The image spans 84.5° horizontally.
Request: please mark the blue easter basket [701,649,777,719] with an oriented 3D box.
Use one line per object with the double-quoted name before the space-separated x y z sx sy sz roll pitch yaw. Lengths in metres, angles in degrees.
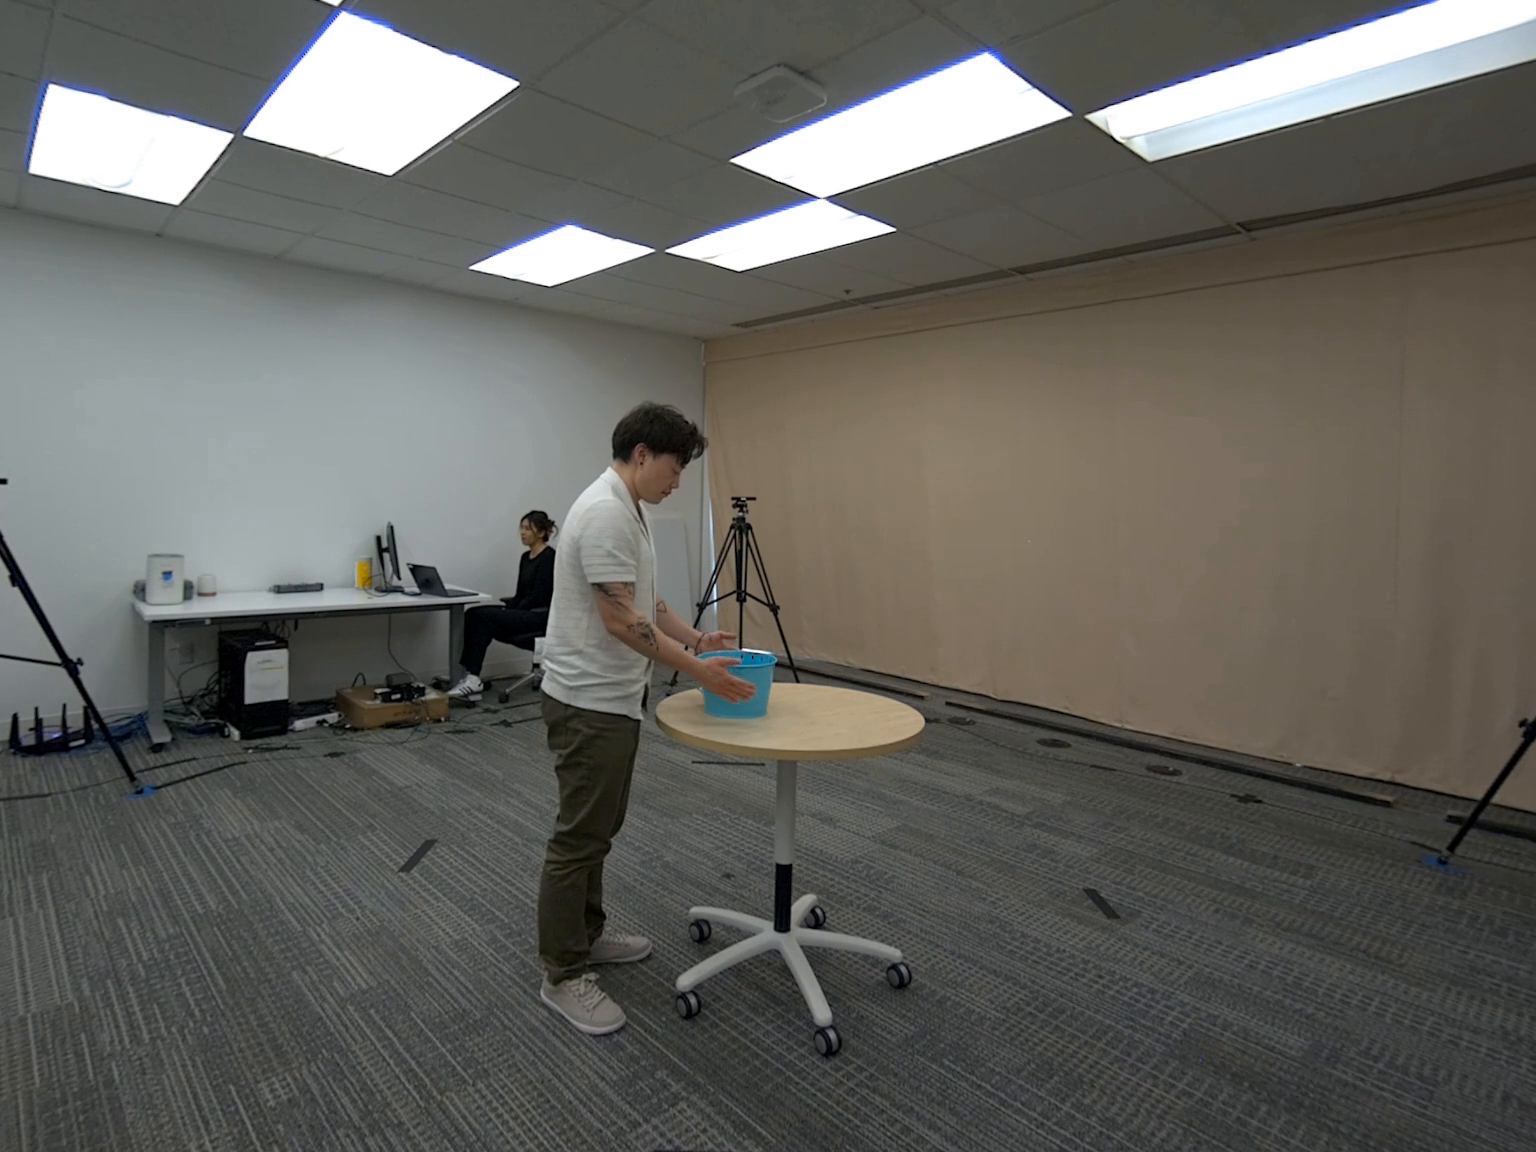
"blue easter basket" -0.113 0.316 2.411 0.243 0.155 0.244 1 5 -1
